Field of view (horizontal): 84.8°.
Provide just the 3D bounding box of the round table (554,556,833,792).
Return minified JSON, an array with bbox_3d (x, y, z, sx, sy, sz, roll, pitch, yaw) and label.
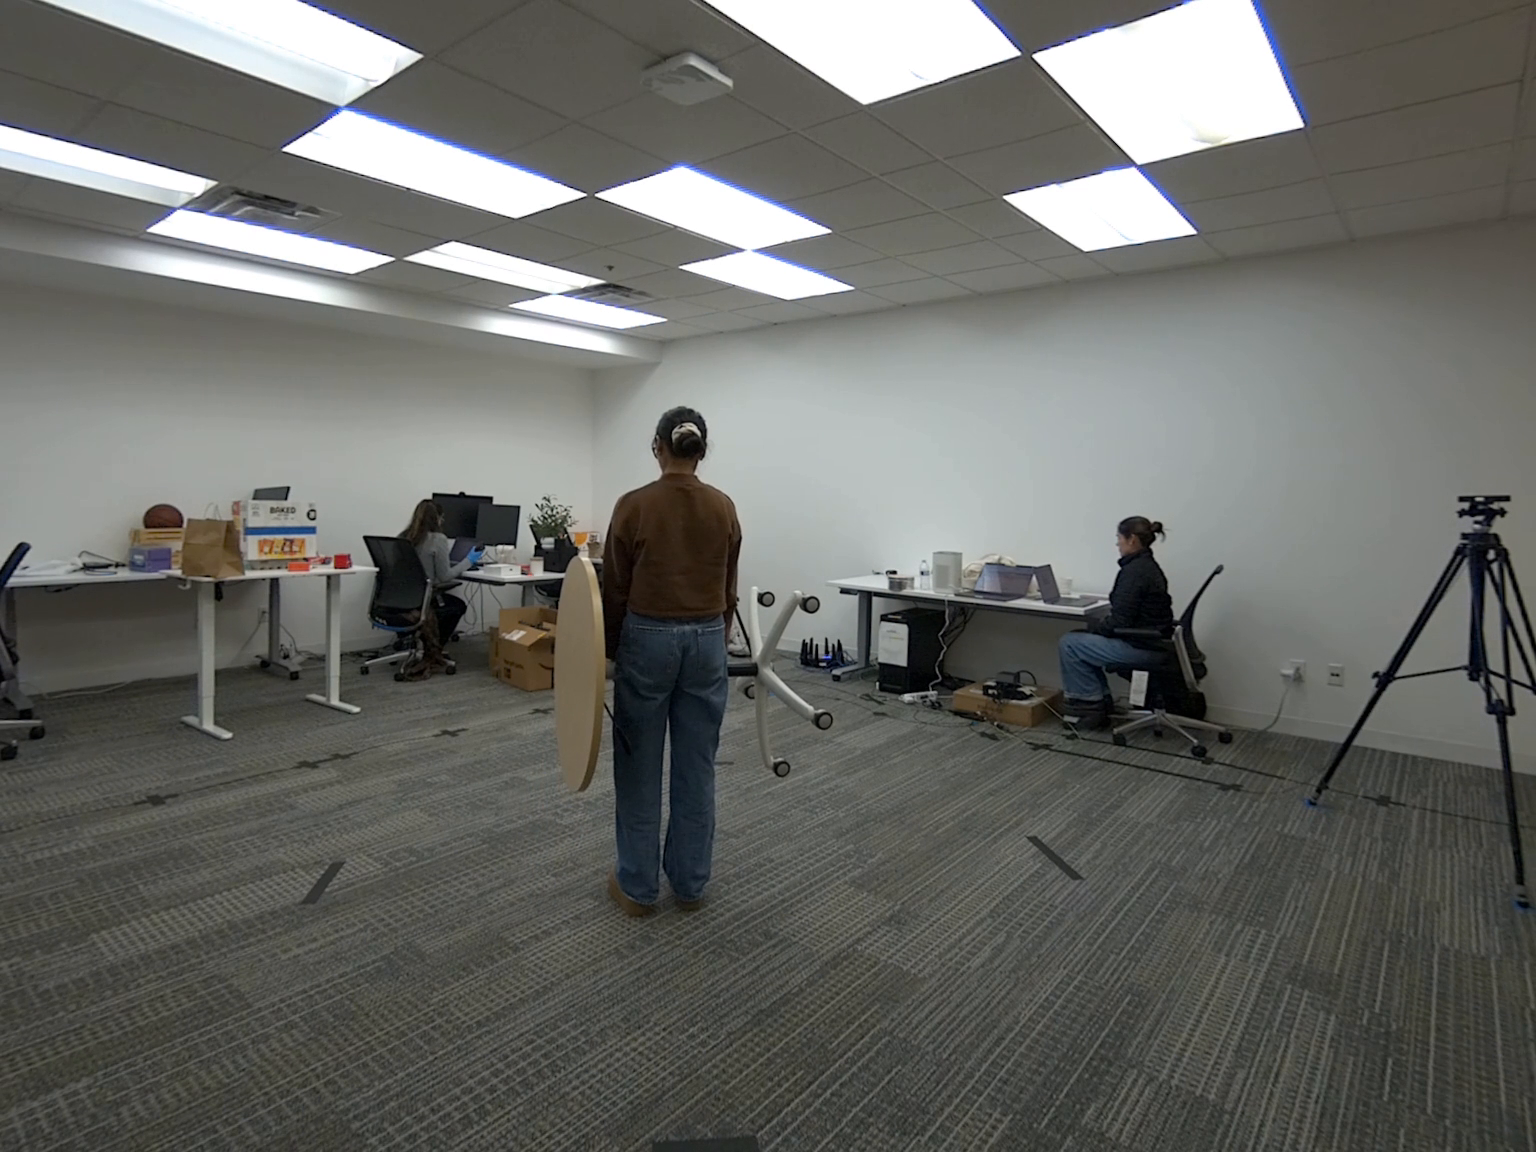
[{"bbox_3d":[-0.290,0.336,2.947,0.776,0.763,0.783,4,3,-22],"label":"round table"}]
